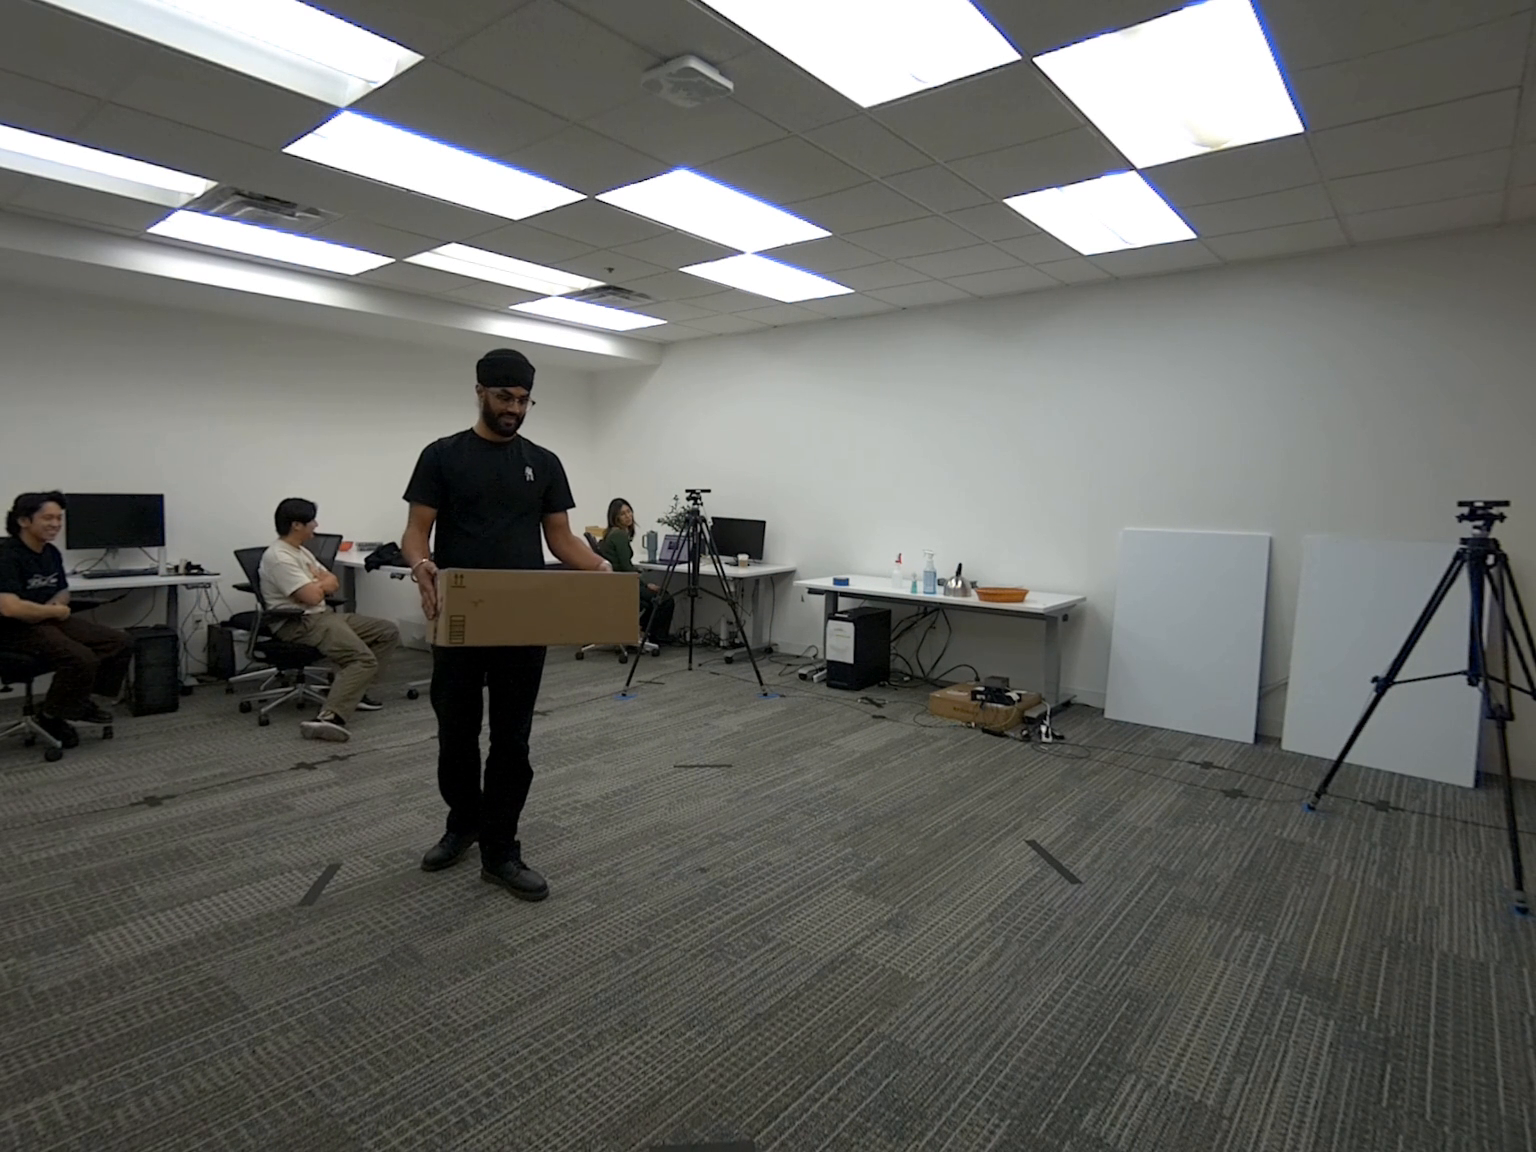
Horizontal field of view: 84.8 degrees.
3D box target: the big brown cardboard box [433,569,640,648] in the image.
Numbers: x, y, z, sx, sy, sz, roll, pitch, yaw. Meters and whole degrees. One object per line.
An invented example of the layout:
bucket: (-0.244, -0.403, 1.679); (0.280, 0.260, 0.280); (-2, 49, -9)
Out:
big brown cardboard box: (-0.739, 0.097, 2.624); (0.574, 0.234, 0.427); (0, -3, -27)
